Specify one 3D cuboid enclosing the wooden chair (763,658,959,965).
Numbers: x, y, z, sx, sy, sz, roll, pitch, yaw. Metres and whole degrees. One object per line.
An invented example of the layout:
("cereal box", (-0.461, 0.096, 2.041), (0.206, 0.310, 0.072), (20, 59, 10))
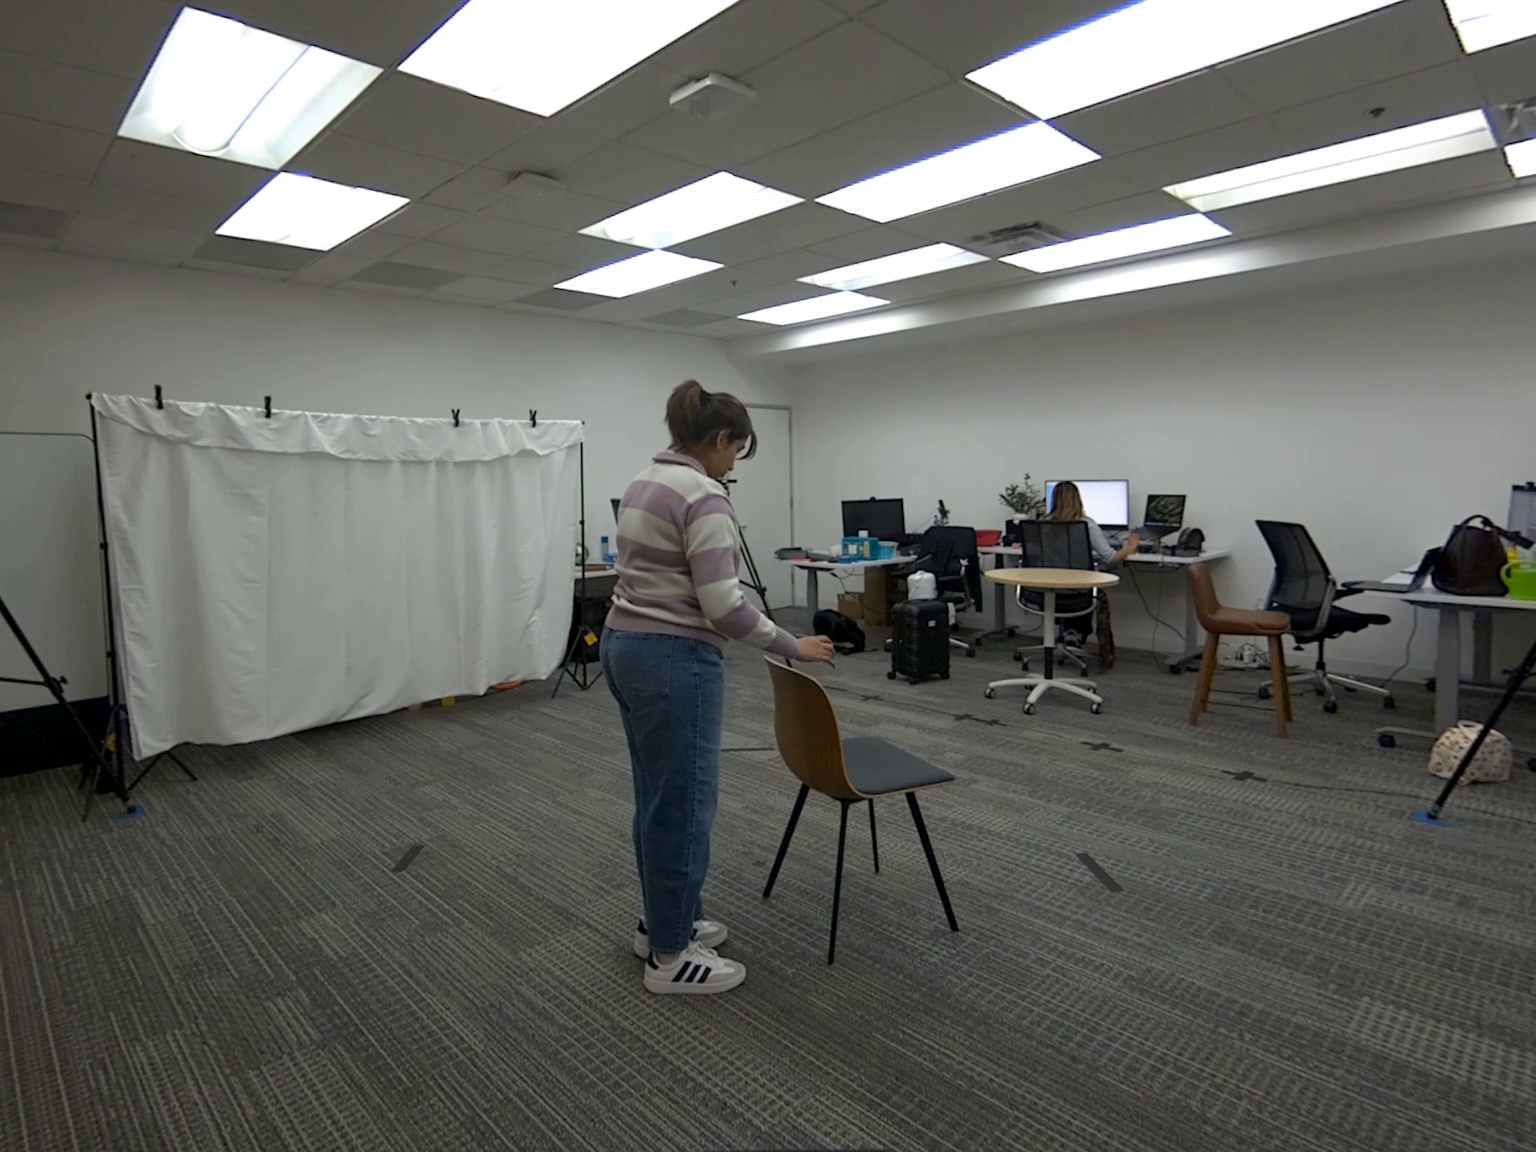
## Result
("wooden chair", (0.288, 0.659, 2.714), (0.513, 0.872, 0.490), (-7, 6, -24))
